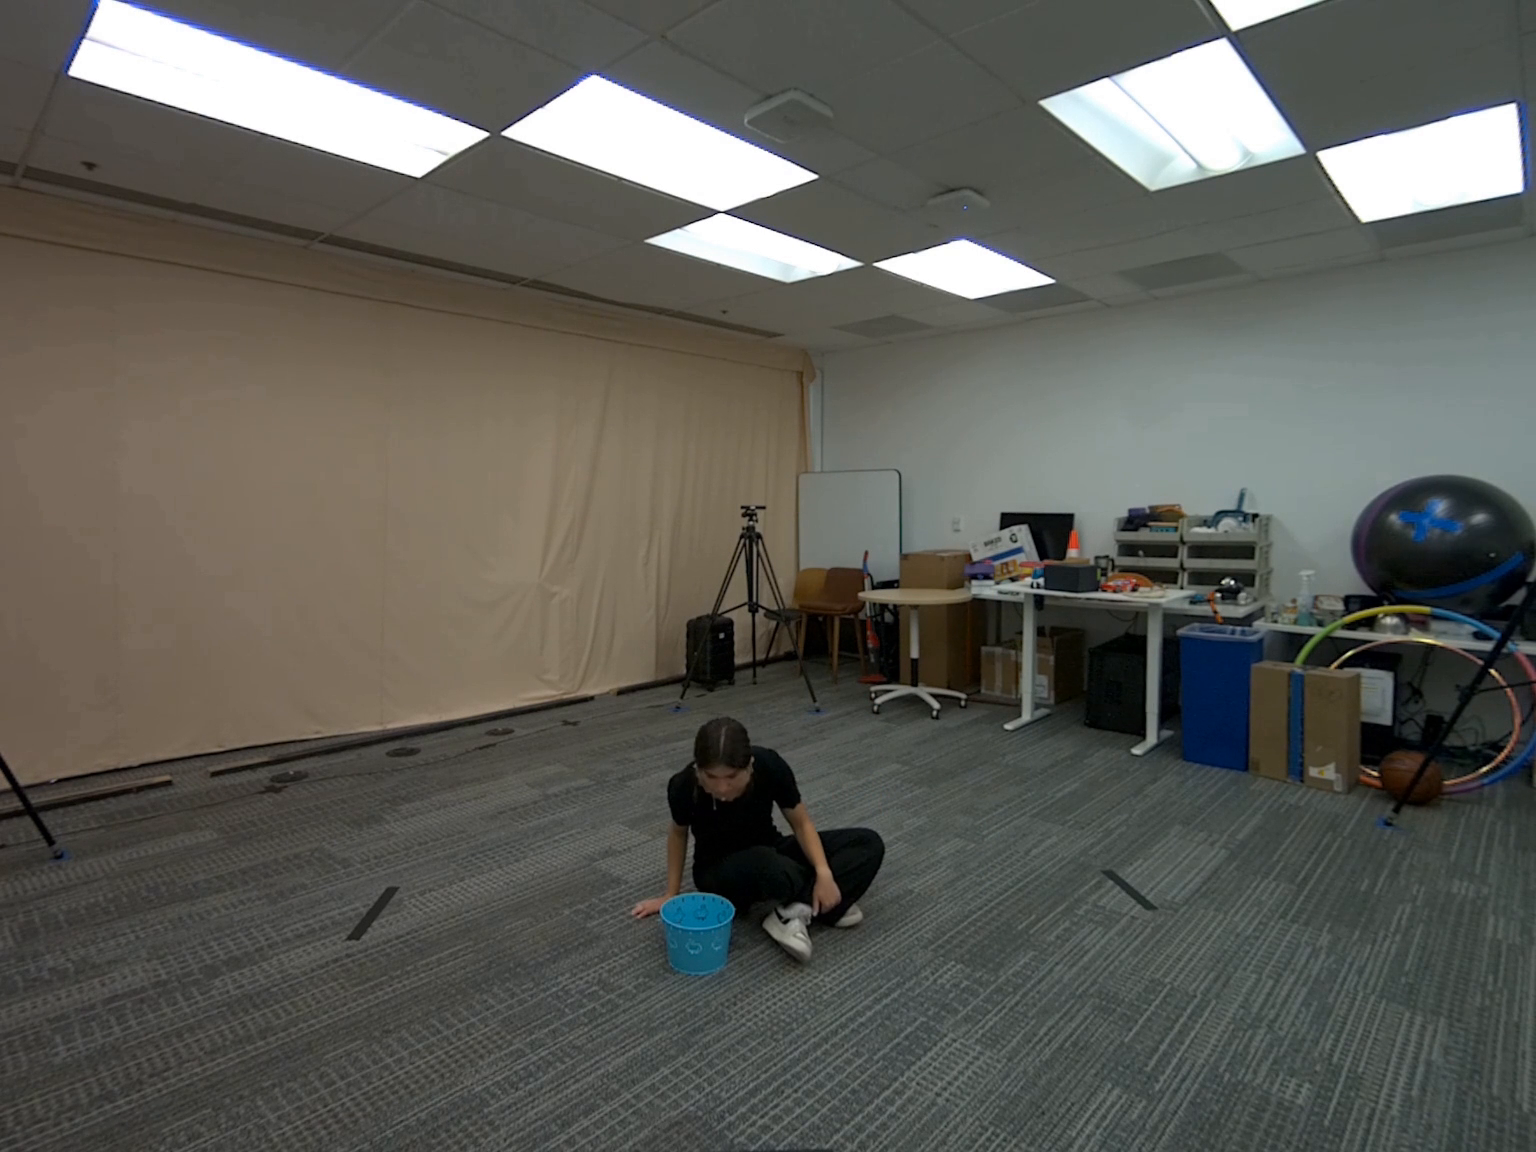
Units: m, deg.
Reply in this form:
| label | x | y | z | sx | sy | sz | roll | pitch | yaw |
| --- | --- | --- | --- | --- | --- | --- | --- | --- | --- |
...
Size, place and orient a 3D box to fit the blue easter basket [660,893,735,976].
| label | x | y | z | sx | sy | sz | roll | pitch | yaw |
| --- | --- | --- | --- | --- | --- | --- | --- | --- | --- |
| blue easter basket | -0.228 | 1.096 | 2.596 | 0.243 | 0.155 | 0.244 | 0 | 5 | -2 |
